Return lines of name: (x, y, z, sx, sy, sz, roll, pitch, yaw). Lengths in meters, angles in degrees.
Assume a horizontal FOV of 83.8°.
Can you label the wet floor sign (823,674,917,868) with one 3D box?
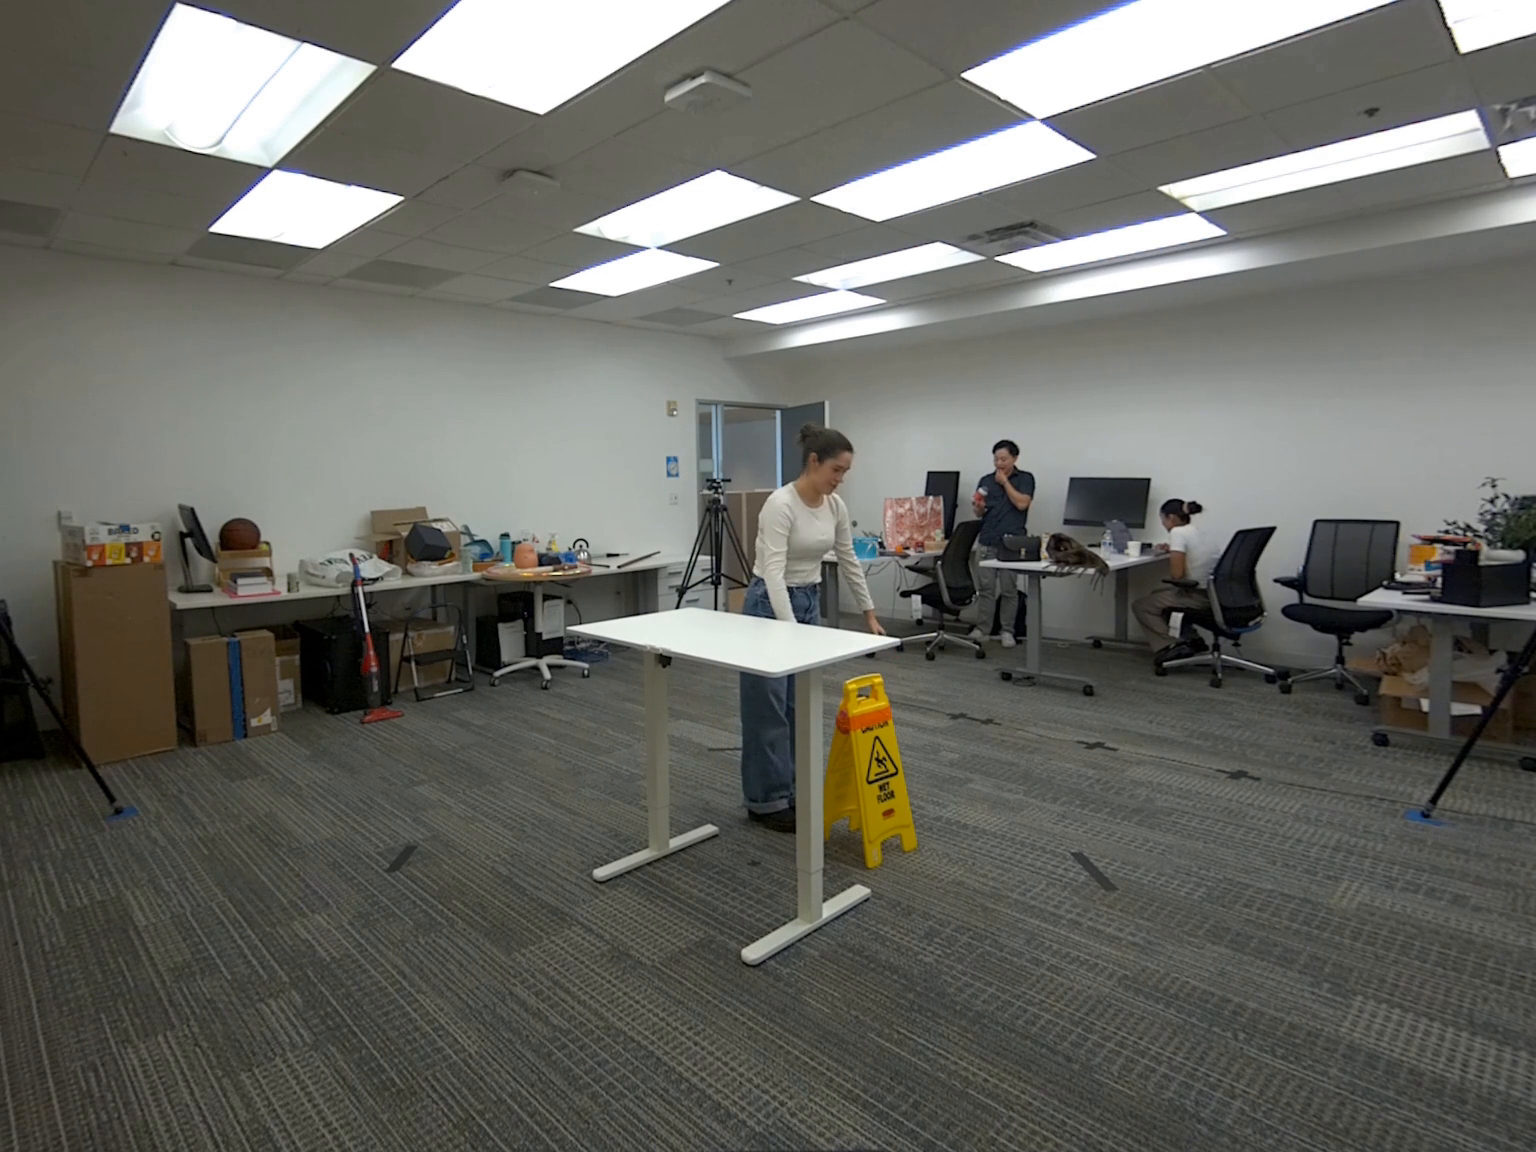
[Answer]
wet floor sign: (0.359, 0.700, 3.219, 0.275, 0.644, 0.298, -4, 5, -42)
